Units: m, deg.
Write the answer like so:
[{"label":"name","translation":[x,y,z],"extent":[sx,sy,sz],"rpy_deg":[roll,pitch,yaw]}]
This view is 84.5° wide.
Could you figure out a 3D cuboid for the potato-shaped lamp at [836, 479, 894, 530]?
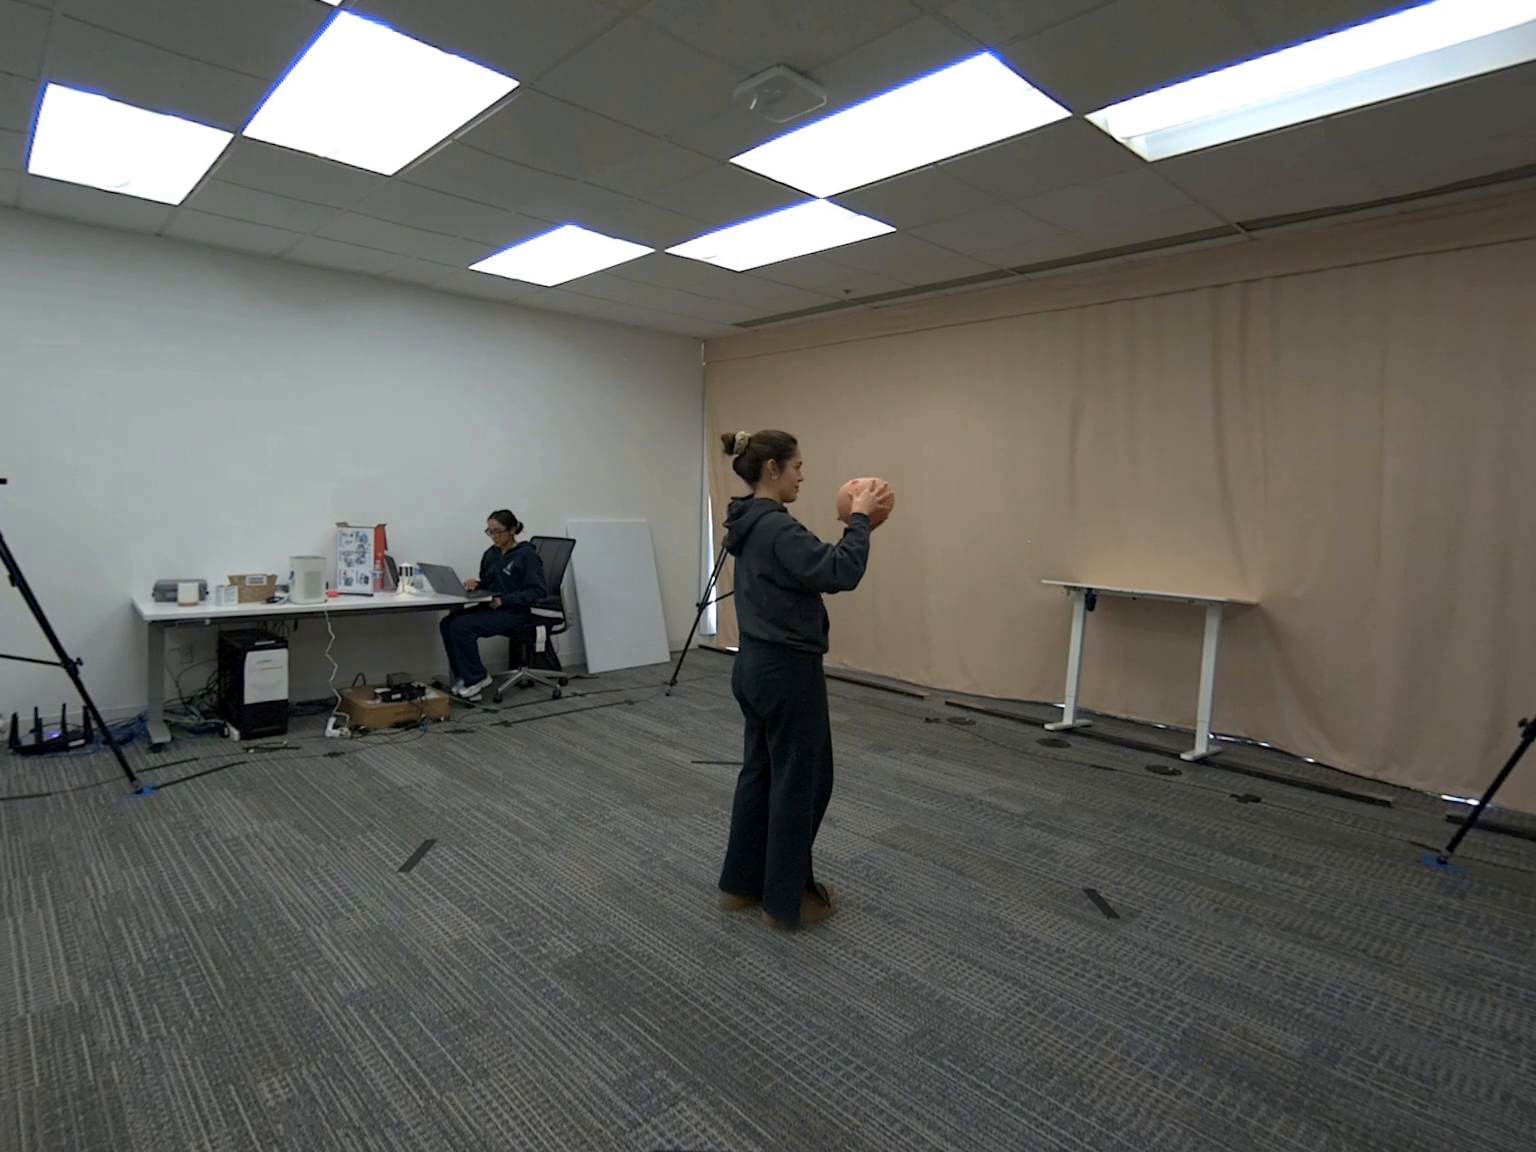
[{"label":"potato-shaped lamp","translation":[0.317,-0.246,2.805],"extent":[0.163,0.171,0.199],"rpy_deg":[28,-4,-9]}]
